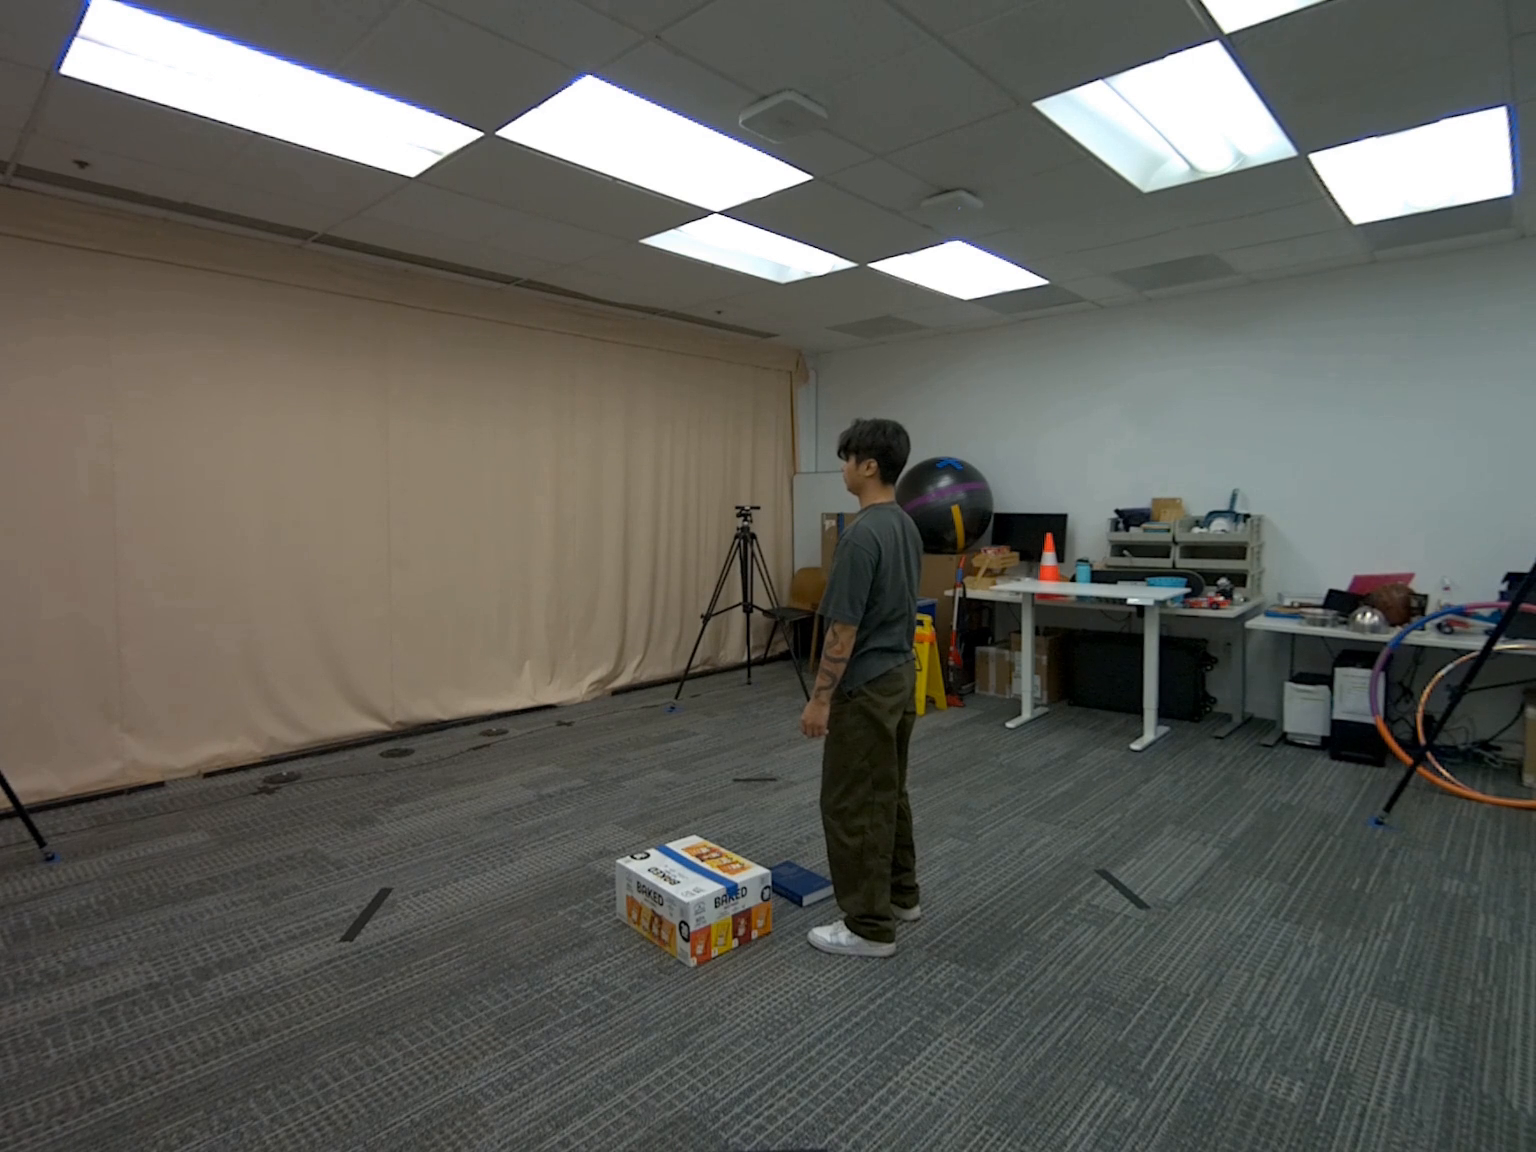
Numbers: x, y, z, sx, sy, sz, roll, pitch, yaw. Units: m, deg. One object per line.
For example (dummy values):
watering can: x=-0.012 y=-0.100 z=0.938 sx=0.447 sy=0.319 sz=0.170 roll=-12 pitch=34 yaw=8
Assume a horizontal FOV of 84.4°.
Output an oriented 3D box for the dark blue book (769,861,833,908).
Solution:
dark blue book: x=0.105 y=1.118 z=3.056 sx=0.158 sy=0.045 sz=0.253 roll=-4 pitch=7 yaw=-41
